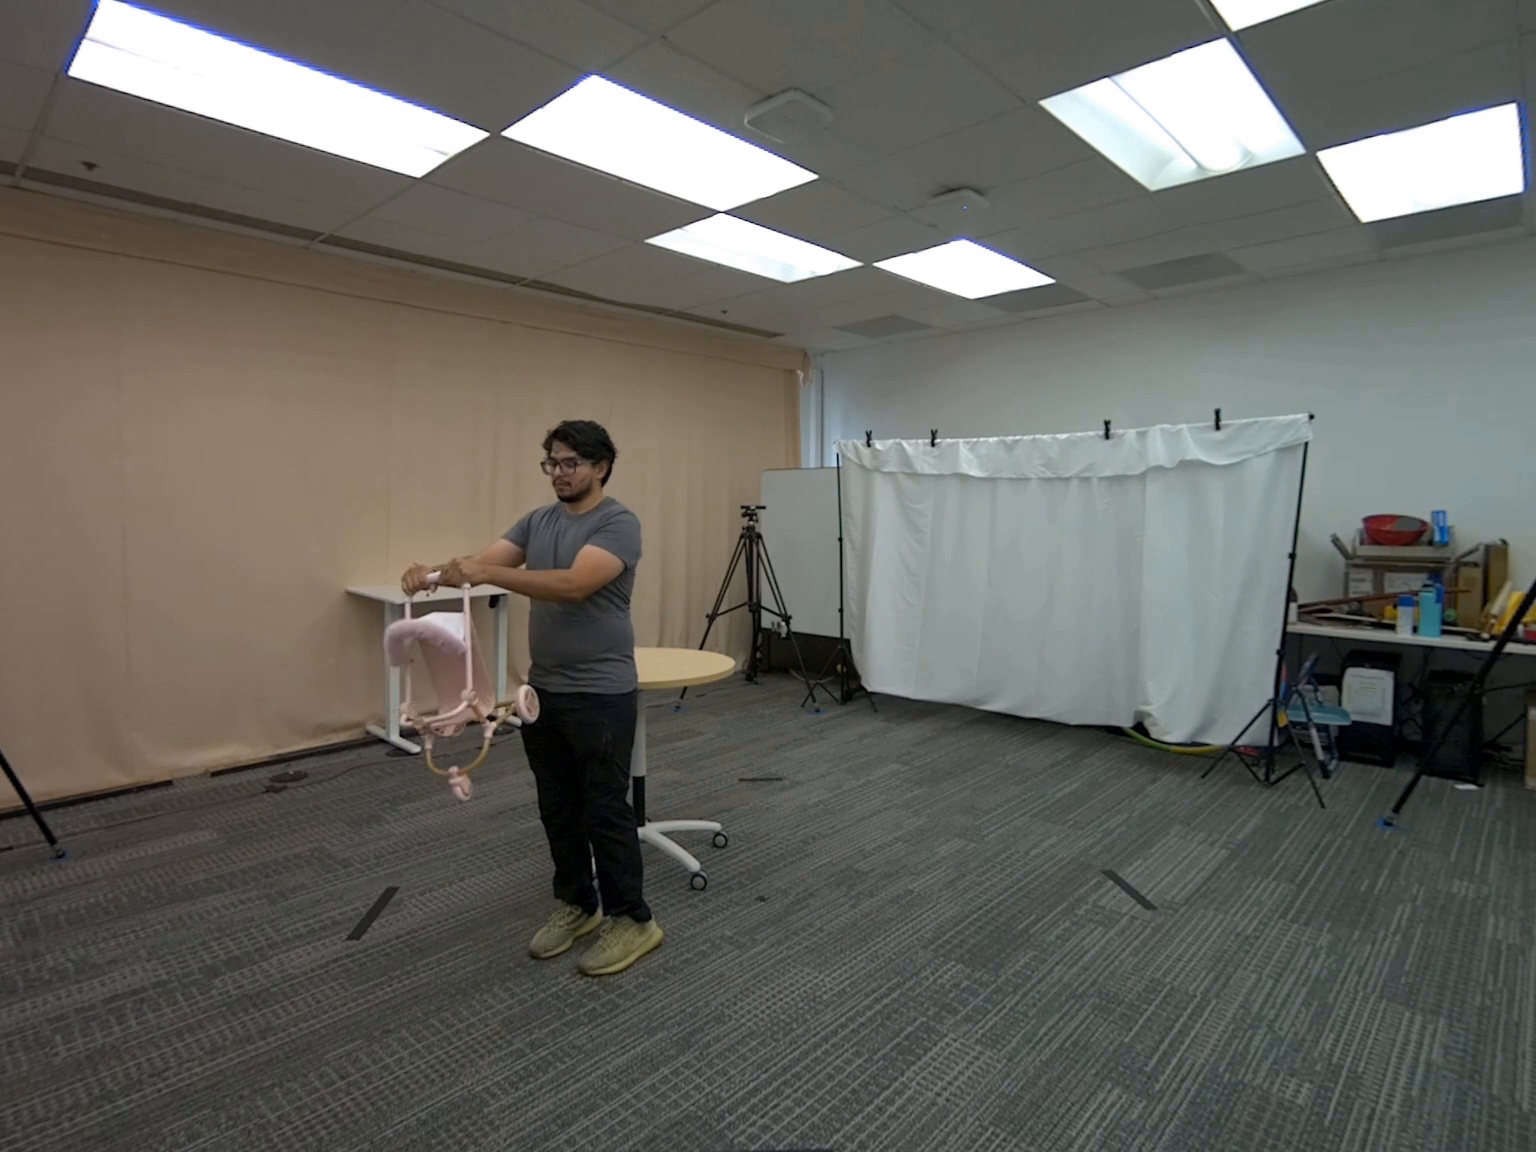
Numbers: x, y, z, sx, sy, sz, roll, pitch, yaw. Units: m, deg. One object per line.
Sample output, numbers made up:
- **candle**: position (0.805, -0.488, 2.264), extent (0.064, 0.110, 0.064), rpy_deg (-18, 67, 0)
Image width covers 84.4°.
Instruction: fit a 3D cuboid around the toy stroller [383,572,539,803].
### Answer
- **toy stroller**: position (-0.859, 0.300, 2.260), extent (0.286, 0.526, 0.341), rpy_deg (-10, 21, 18)
